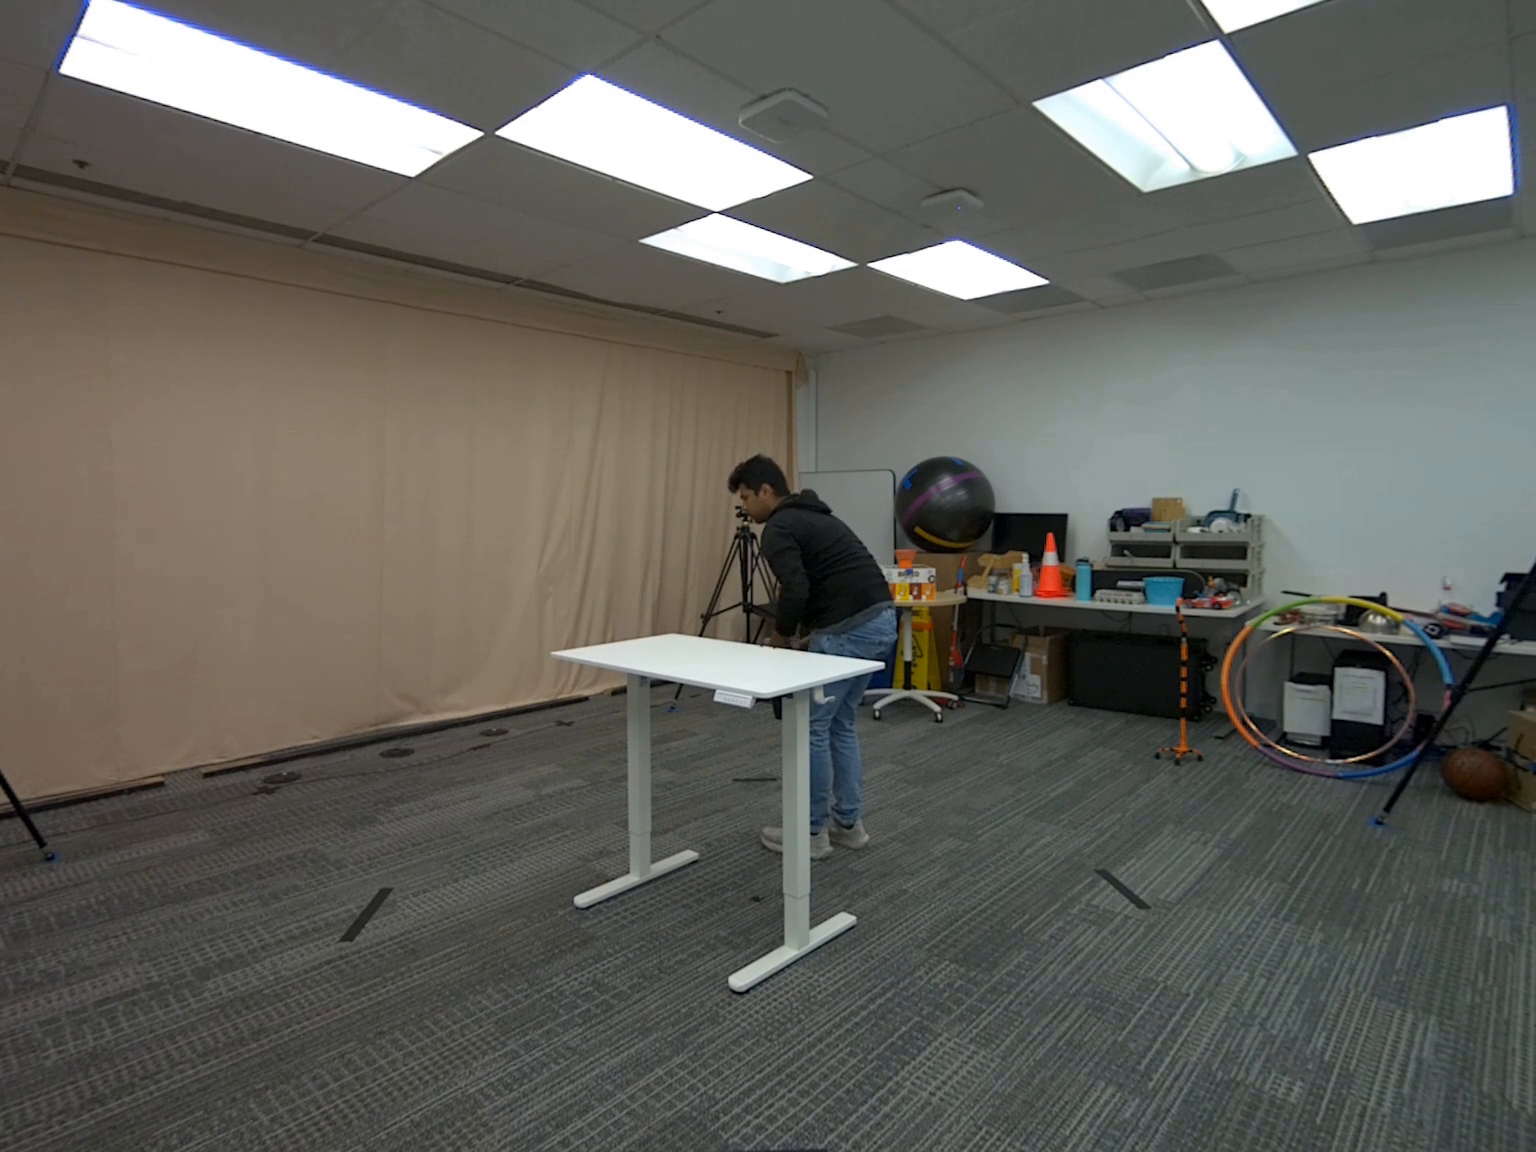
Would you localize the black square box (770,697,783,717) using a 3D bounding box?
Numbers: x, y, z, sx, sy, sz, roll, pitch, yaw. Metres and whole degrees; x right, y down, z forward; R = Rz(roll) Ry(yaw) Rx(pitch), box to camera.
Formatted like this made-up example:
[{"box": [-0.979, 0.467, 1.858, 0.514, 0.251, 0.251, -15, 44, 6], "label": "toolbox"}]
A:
[{"box": [0.005, 0.436, 3.550, 0.223, 0.155, 0.222, 6, 7, 28], "label": "black square box"}]
